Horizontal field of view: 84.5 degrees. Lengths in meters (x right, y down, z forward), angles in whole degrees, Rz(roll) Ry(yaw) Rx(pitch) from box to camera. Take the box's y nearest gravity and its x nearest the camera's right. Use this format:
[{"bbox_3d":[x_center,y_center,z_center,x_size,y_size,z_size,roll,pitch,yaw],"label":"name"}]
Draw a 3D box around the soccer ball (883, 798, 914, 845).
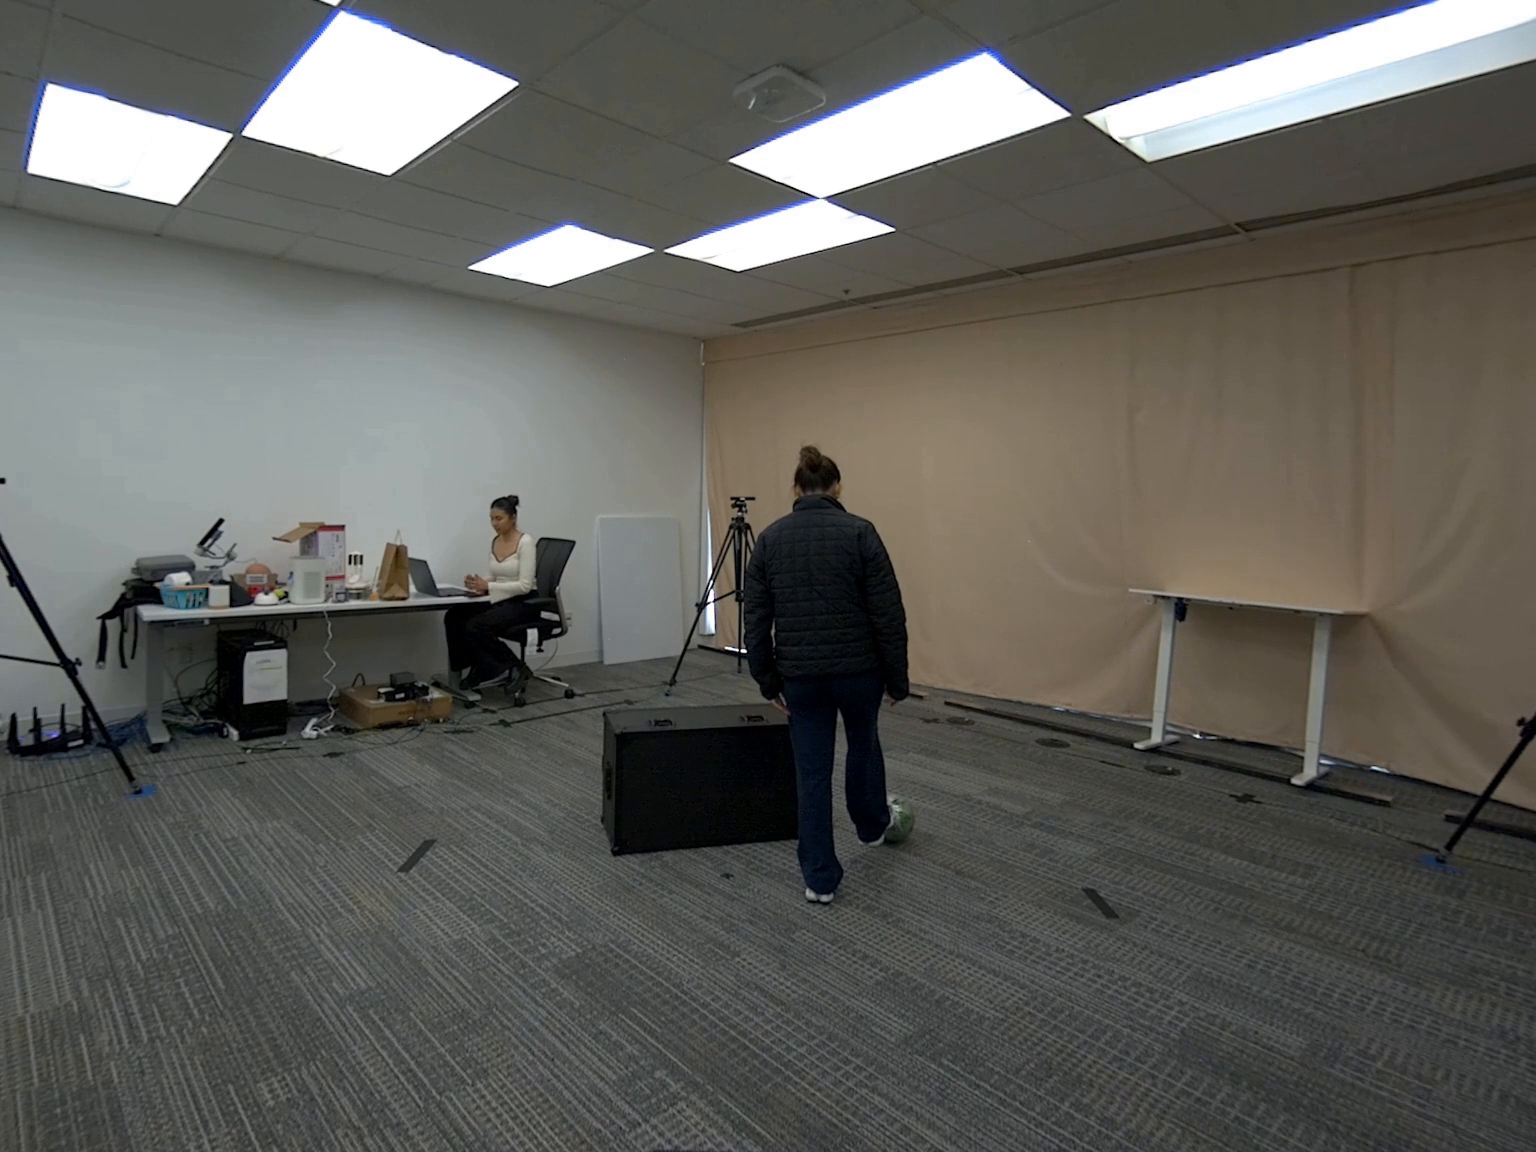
[{"bbox_3d":[0.499,0.999,3.472,0.187,0.187,0.188,1,4,-1],"label":"soccer ball"}]
